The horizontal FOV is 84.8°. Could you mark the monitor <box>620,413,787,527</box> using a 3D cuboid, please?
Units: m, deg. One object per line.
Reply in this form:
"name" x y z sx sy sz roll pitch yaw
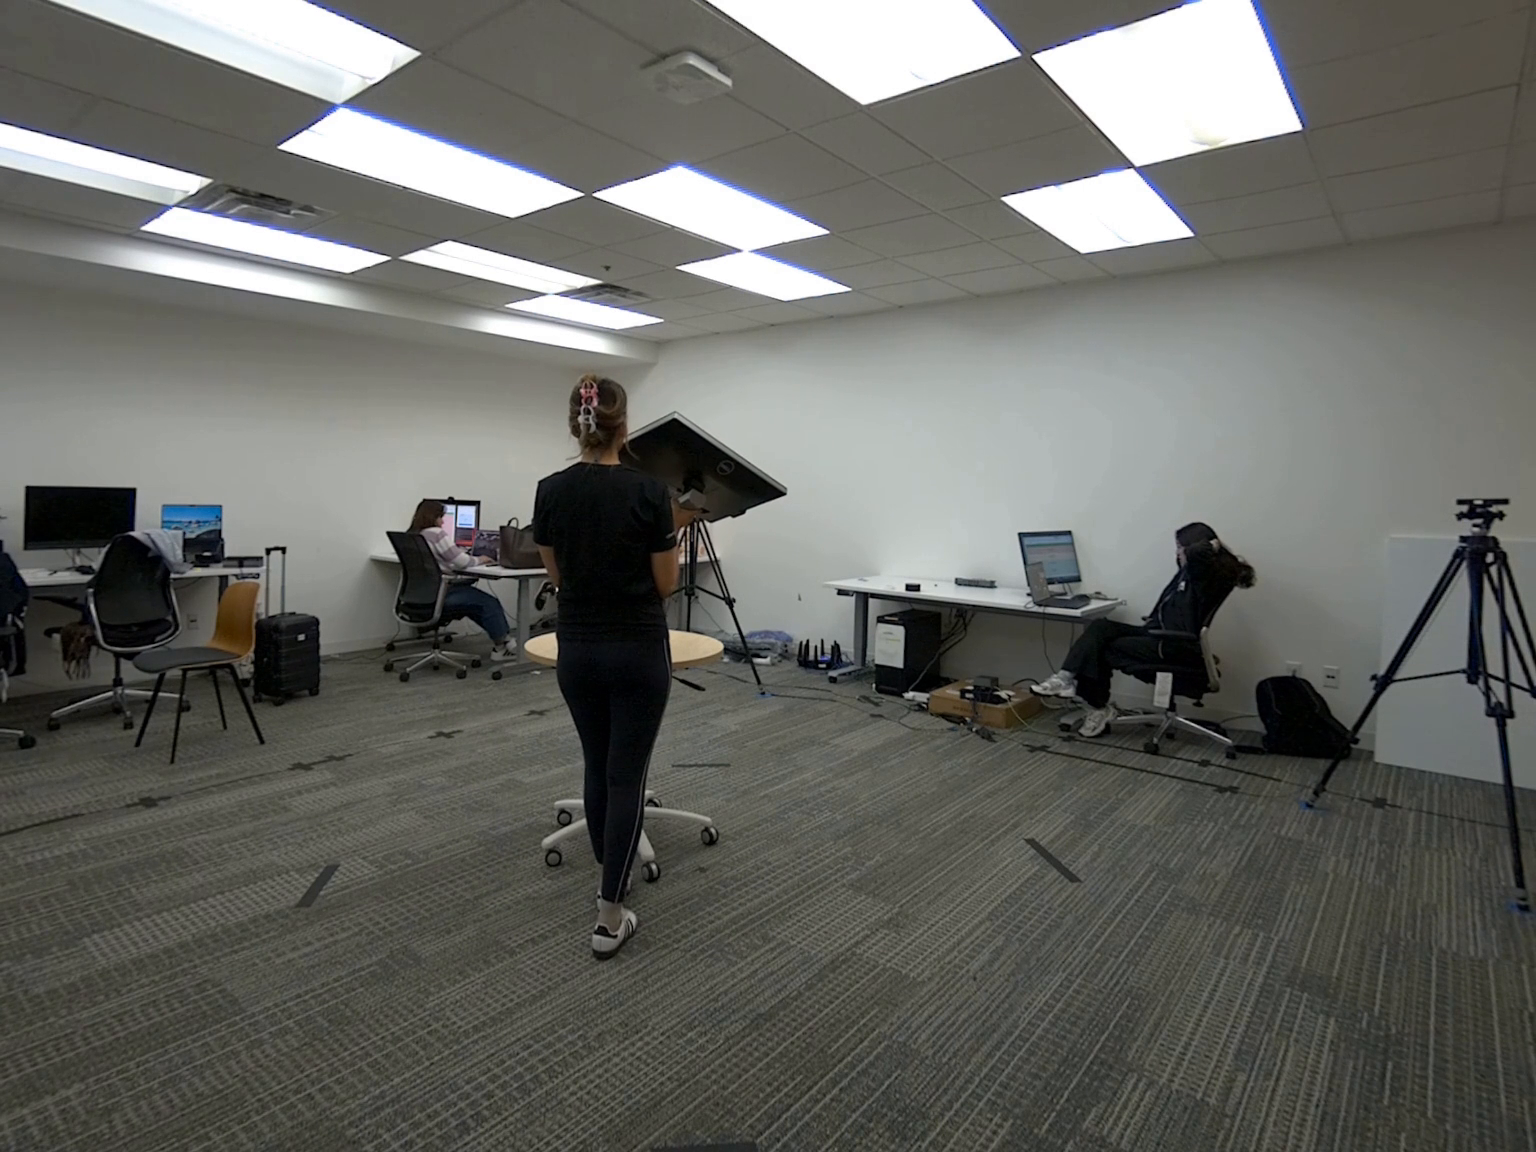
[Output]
"monitor" -0.321 -0.290 2.898 0.528 0.193 0.517 -30 -42 31
